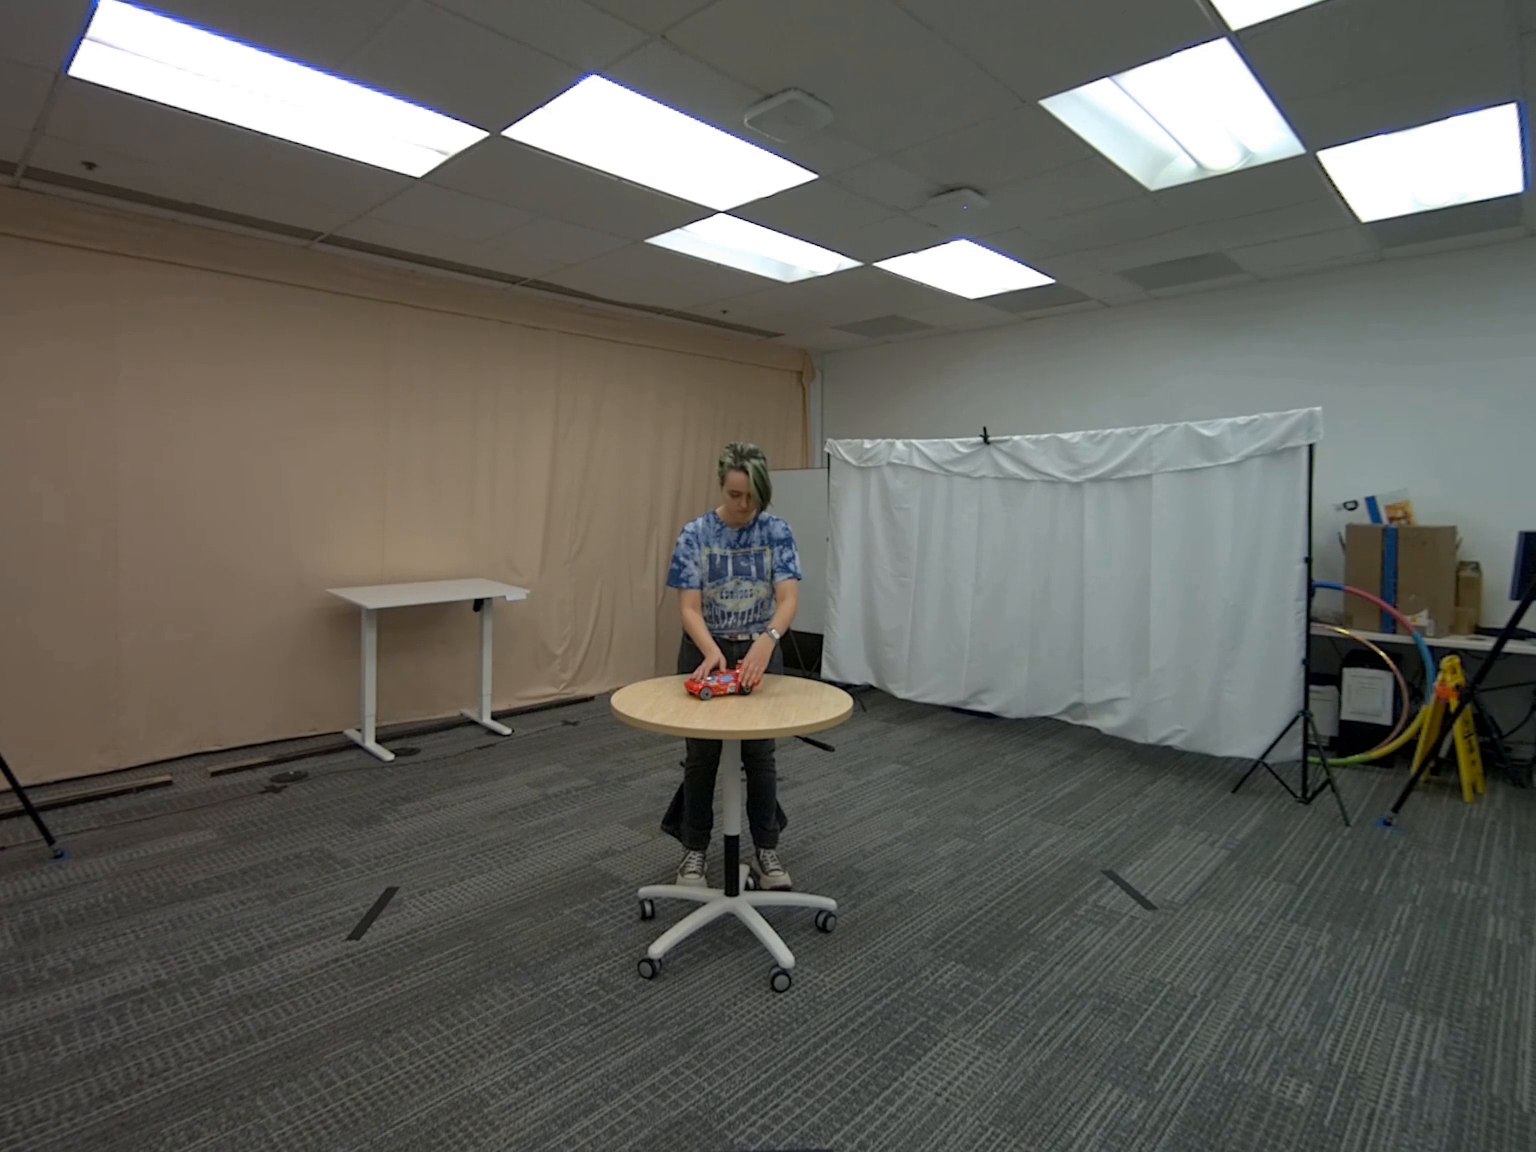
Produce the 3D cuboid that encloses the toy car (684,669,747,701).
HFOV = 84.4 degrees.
[{"bbox_3d":[-0.132,0.350,2.727,0.249,0.082,0.134,-14,11,-26],"label":"toy car"}]
